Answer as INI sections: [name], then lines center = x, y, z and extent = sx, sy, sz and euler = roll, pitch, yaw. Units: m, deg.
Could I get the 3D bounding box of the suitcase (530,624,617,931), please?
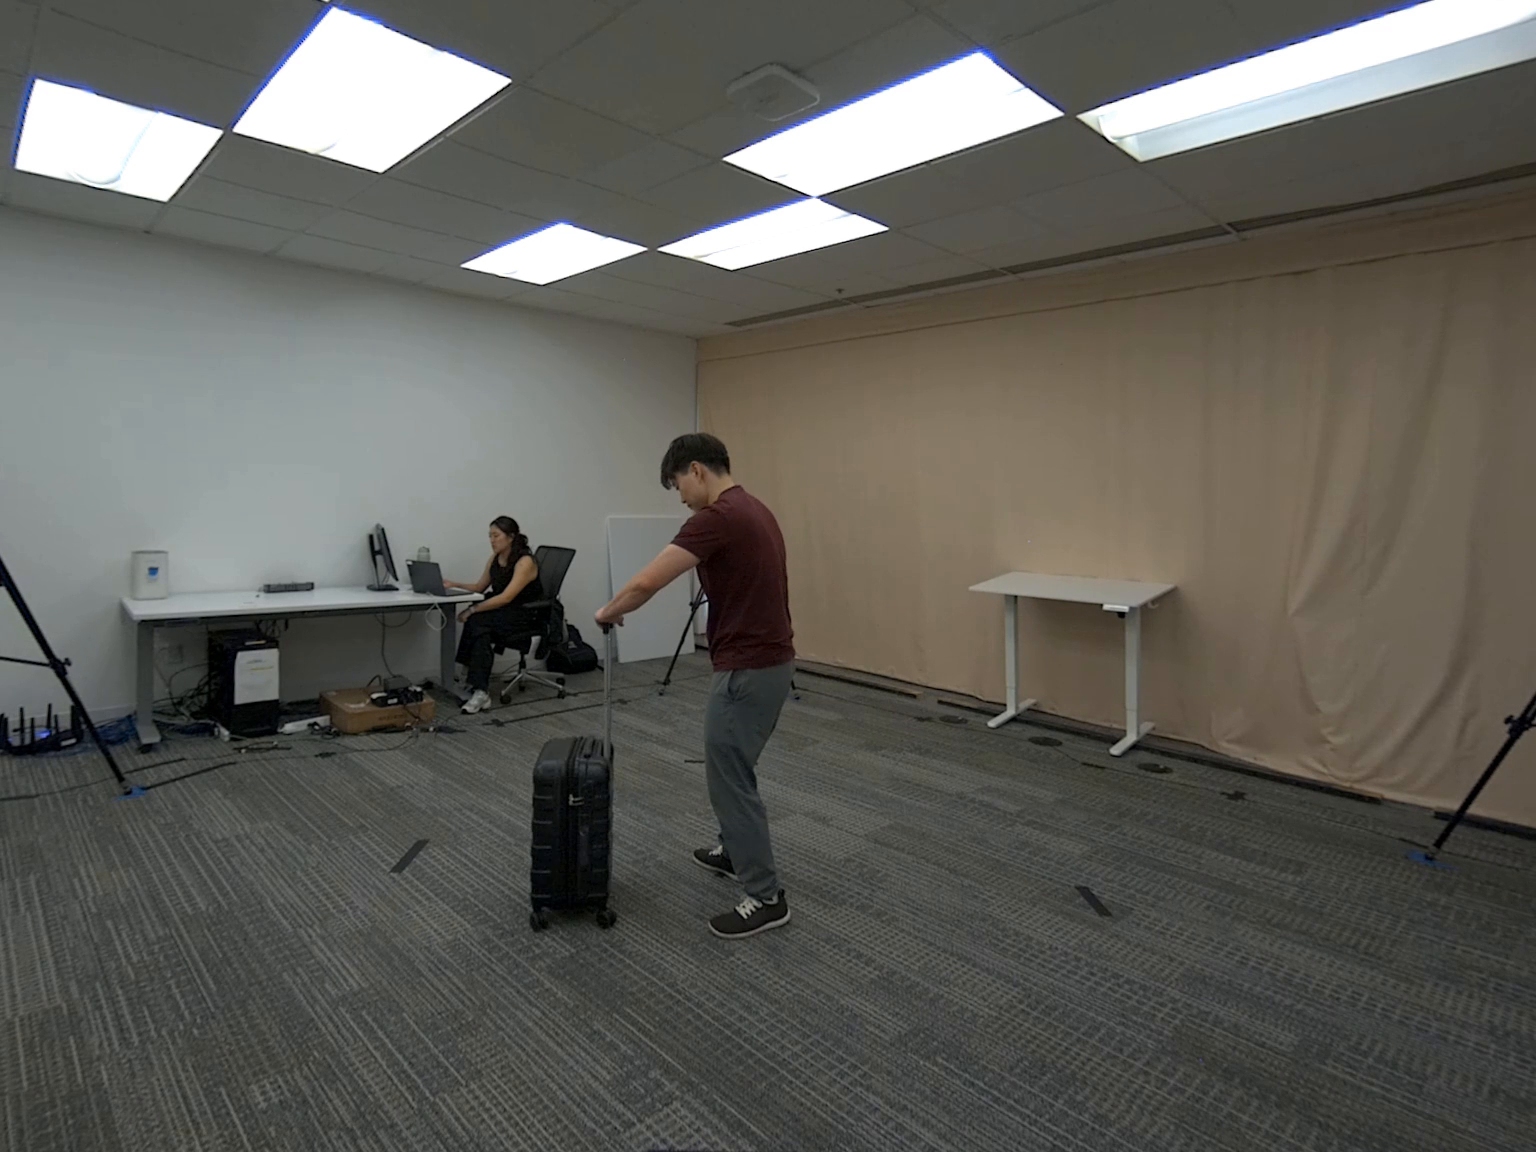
[suitcase]
center = -0.656, 0.635, 2.839
extent = 0.256, 0.977, 0.386
euler = -1, 2, -7
